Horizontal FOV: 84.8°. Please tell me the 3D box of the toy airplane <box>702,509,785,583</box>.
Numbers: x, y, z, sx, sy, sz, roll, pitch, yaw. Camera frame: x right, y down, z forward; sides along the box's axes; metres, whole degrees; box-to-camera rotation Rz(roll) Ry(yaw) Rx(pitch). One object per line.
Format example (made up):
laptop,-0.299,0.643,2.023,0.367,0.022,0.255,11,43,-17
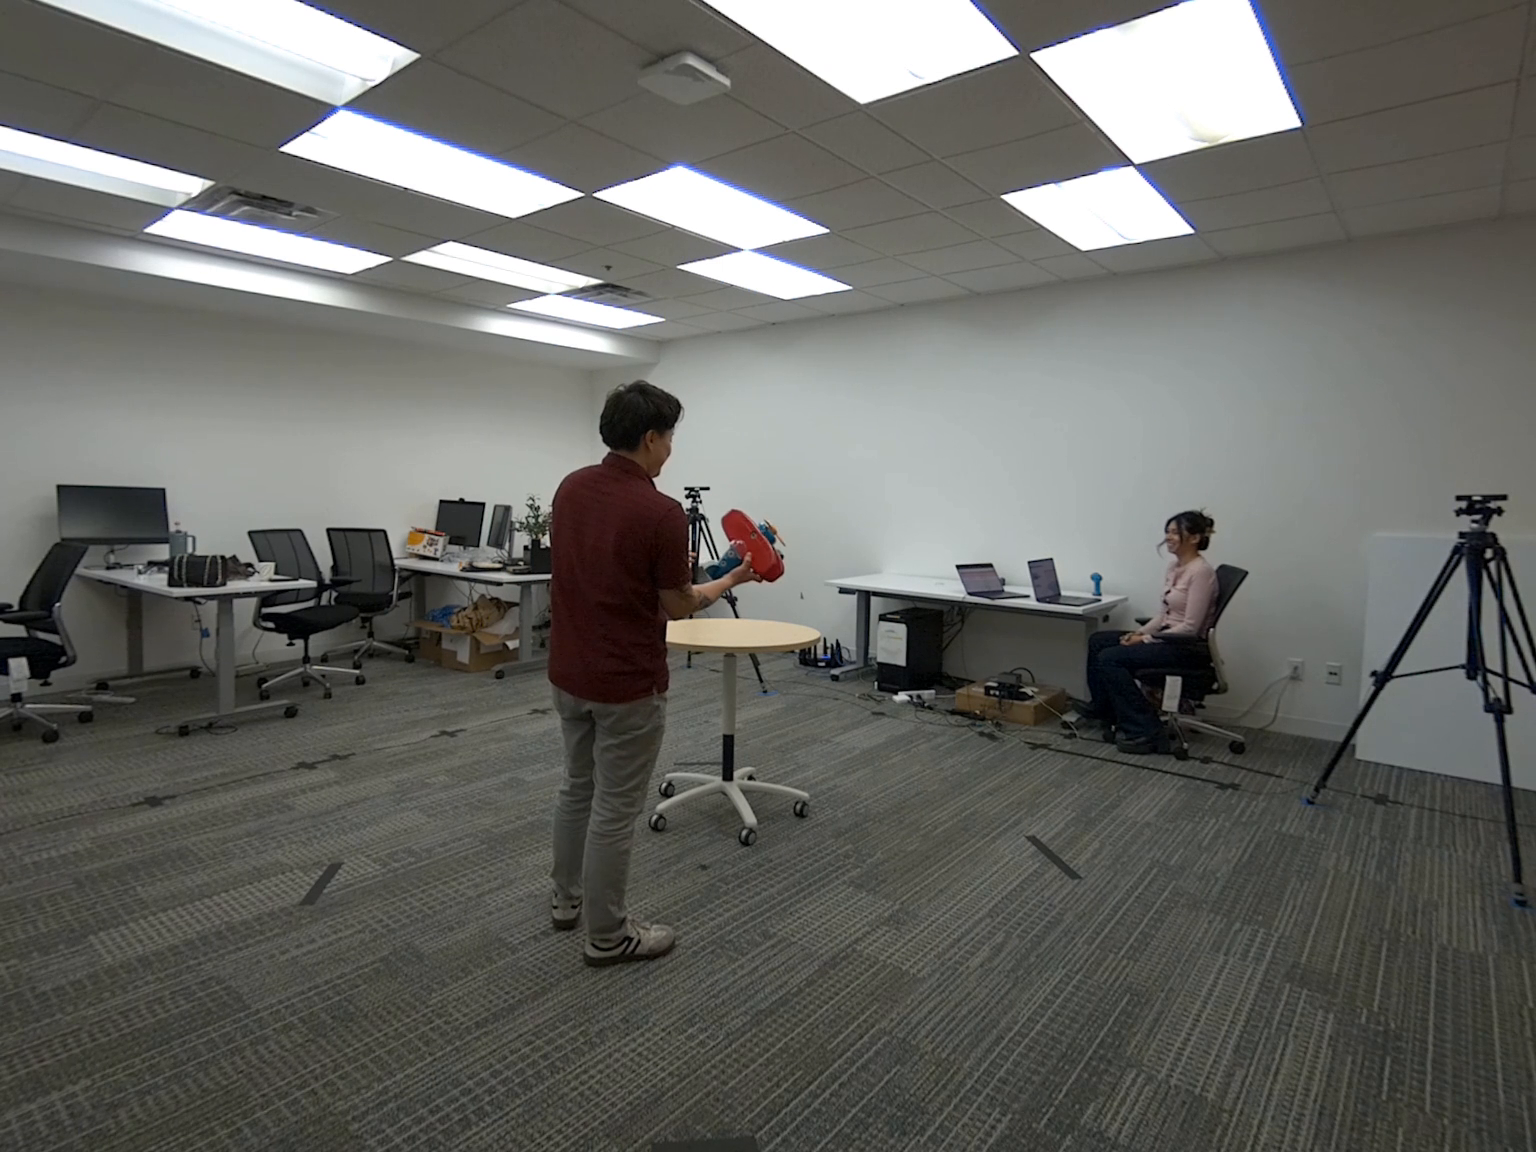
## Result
toy airplane,-0.083,-0.064,2.675,0.258,0.260,0.151,24,-22,22
